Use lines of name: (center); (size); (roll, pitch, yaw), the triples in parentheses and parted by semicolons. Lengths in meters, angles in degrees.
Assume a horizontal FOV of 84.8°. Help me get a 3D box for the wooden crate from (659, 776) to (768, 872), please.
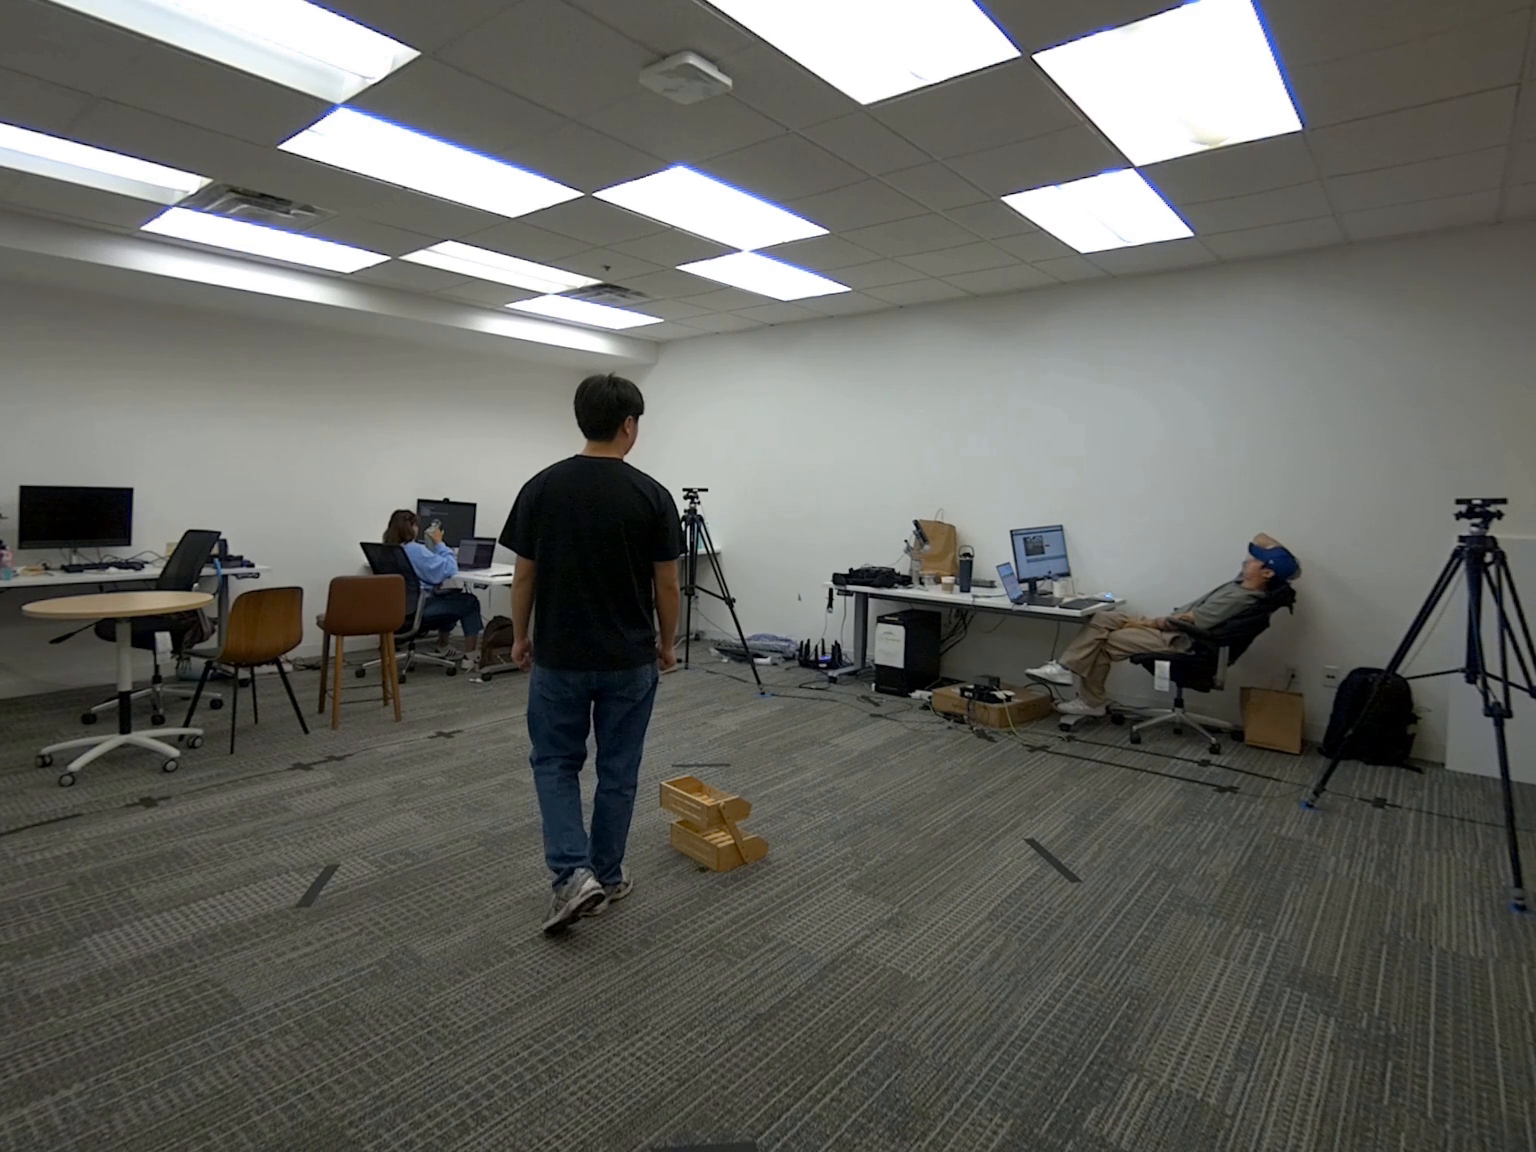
wooden crate: (-0.214, 0.921, 3.257); (0.293, 0.272, 0.335); (-3, 6, -41)
